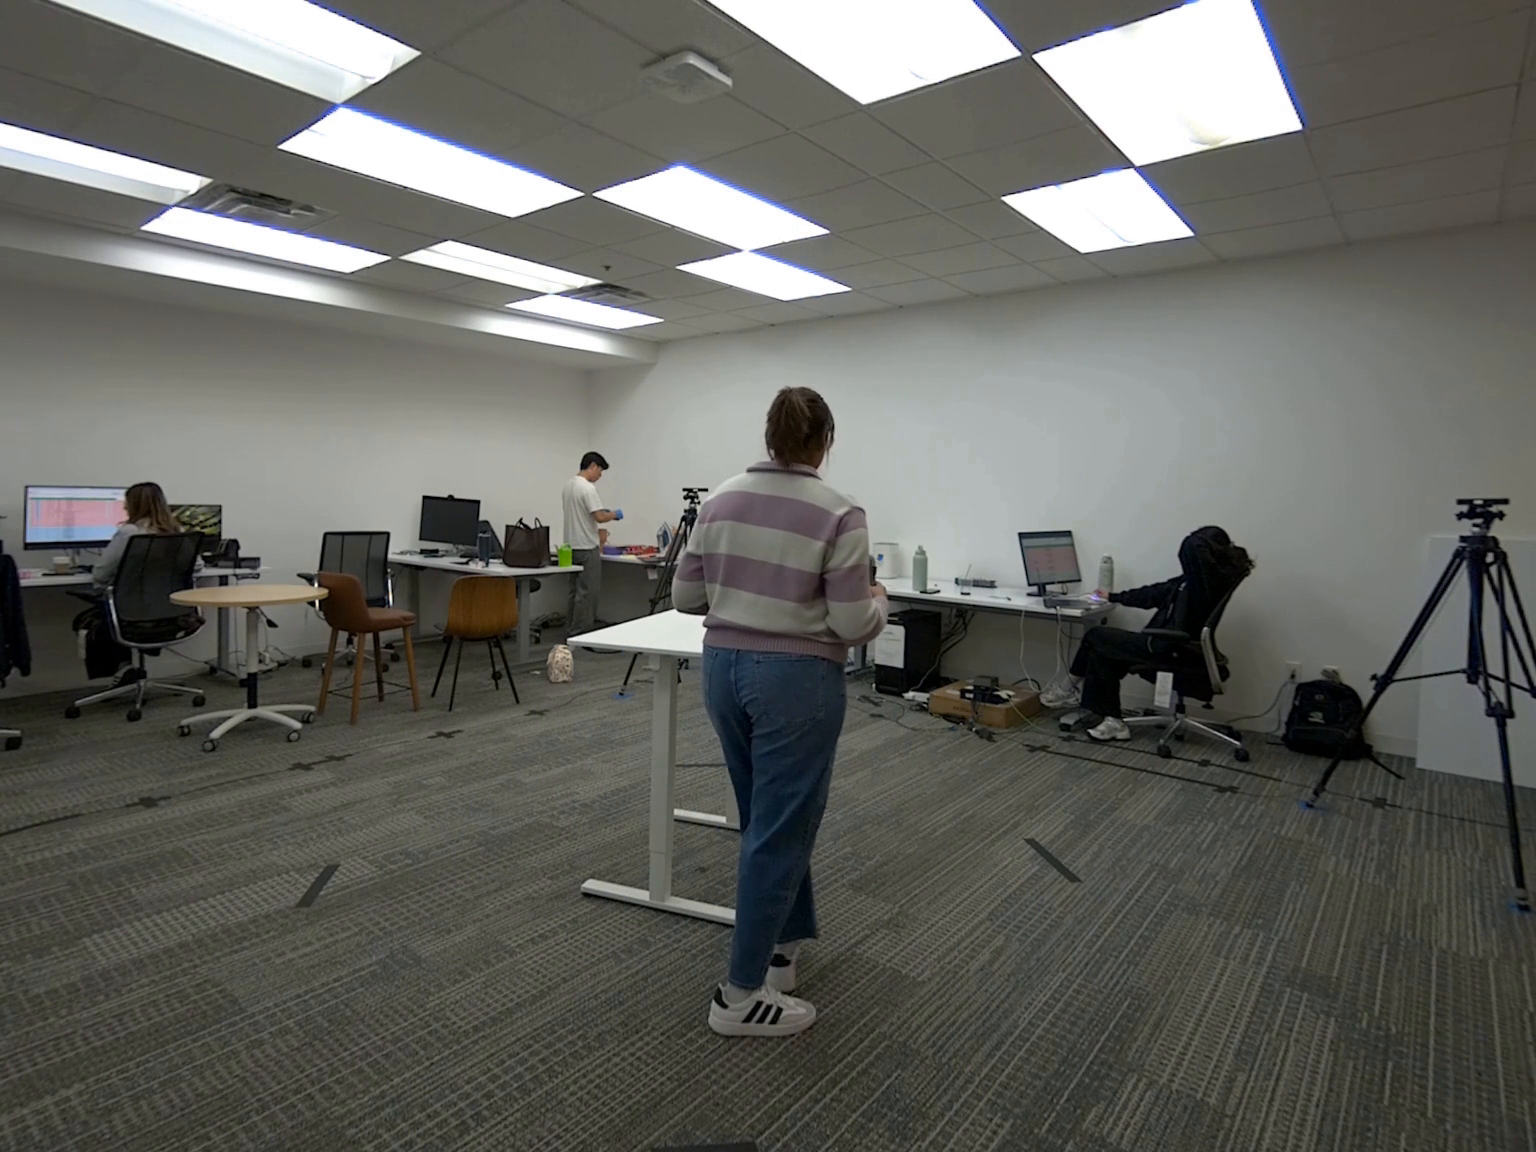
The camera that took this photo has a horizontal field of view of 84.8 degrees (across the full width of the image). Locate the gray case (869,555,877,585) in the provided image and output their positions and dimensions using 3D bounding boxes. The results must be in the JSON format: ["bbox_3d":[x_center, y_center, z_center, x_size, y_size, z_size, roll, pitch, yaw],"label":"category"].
[{"bbox_3d":[0.171,0.050,2.435,0.263,0.261,0.101,1,-2,24],"label":"gray case"}]
